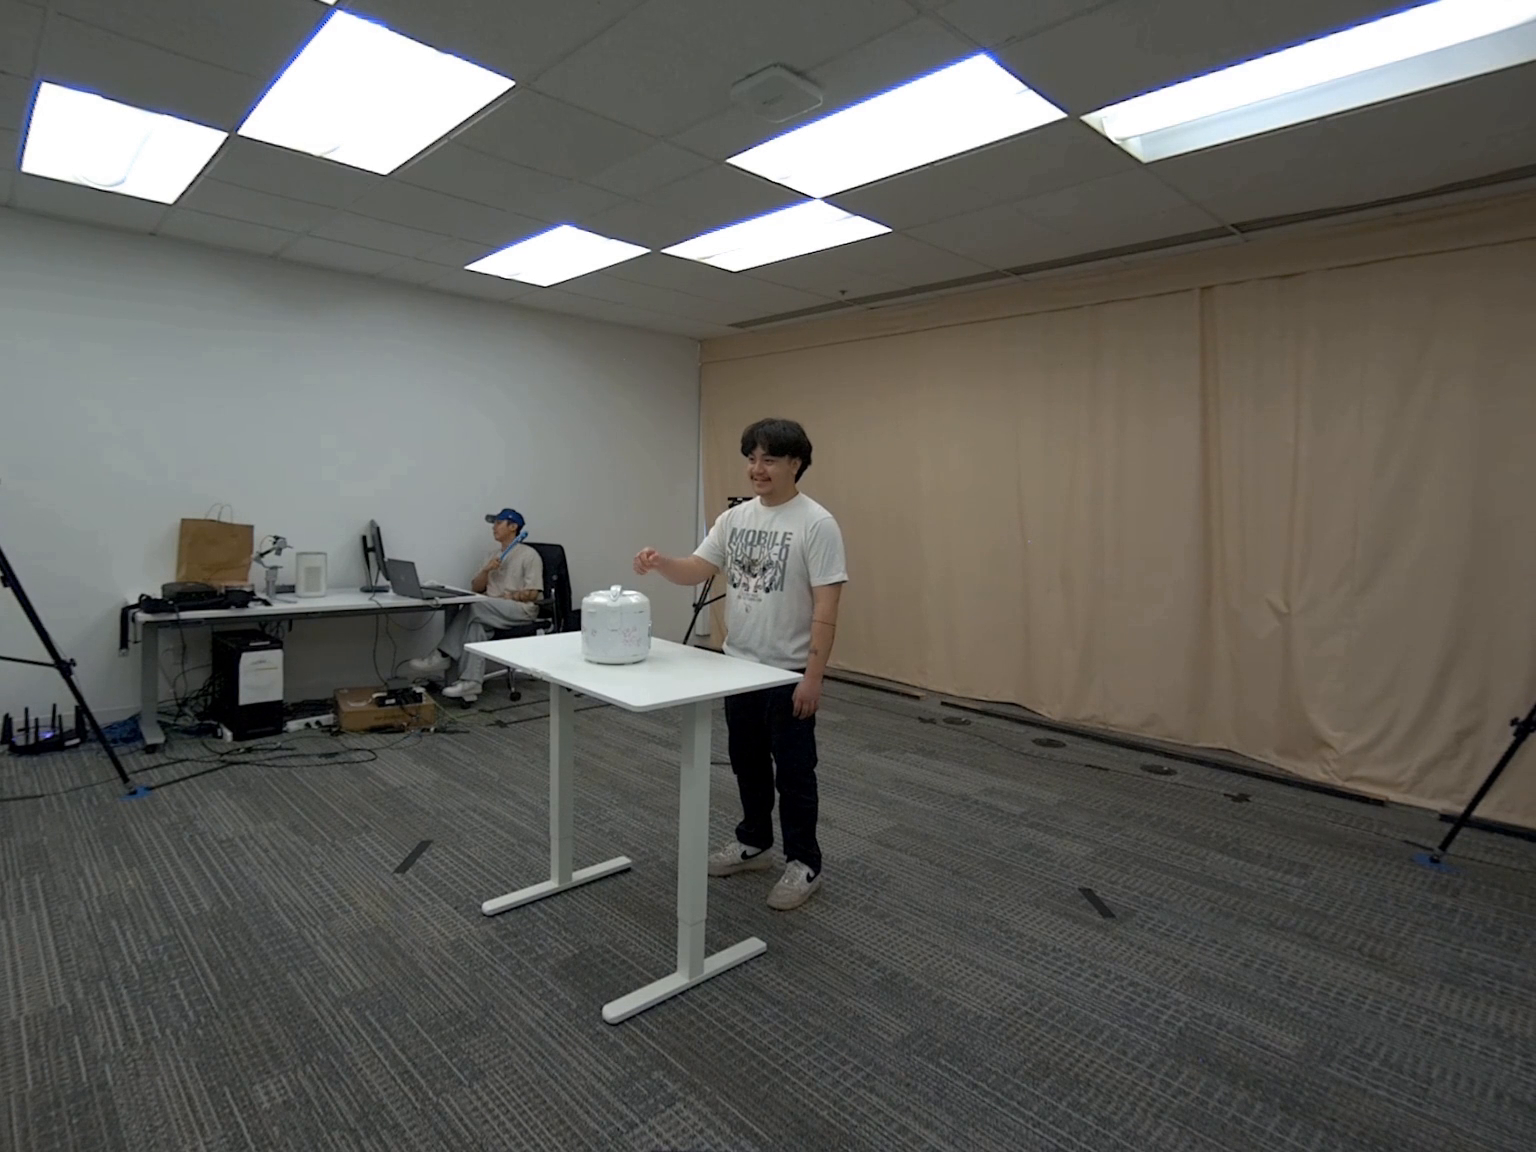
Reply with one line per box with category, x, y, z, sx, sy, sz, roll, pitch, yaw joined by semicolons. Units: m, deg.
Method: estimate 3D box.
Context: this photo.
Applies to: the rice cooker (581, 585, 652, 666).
rice cooker;-0.482;0.147;2.609;0.217;0.232;0.222;0;5;-3
